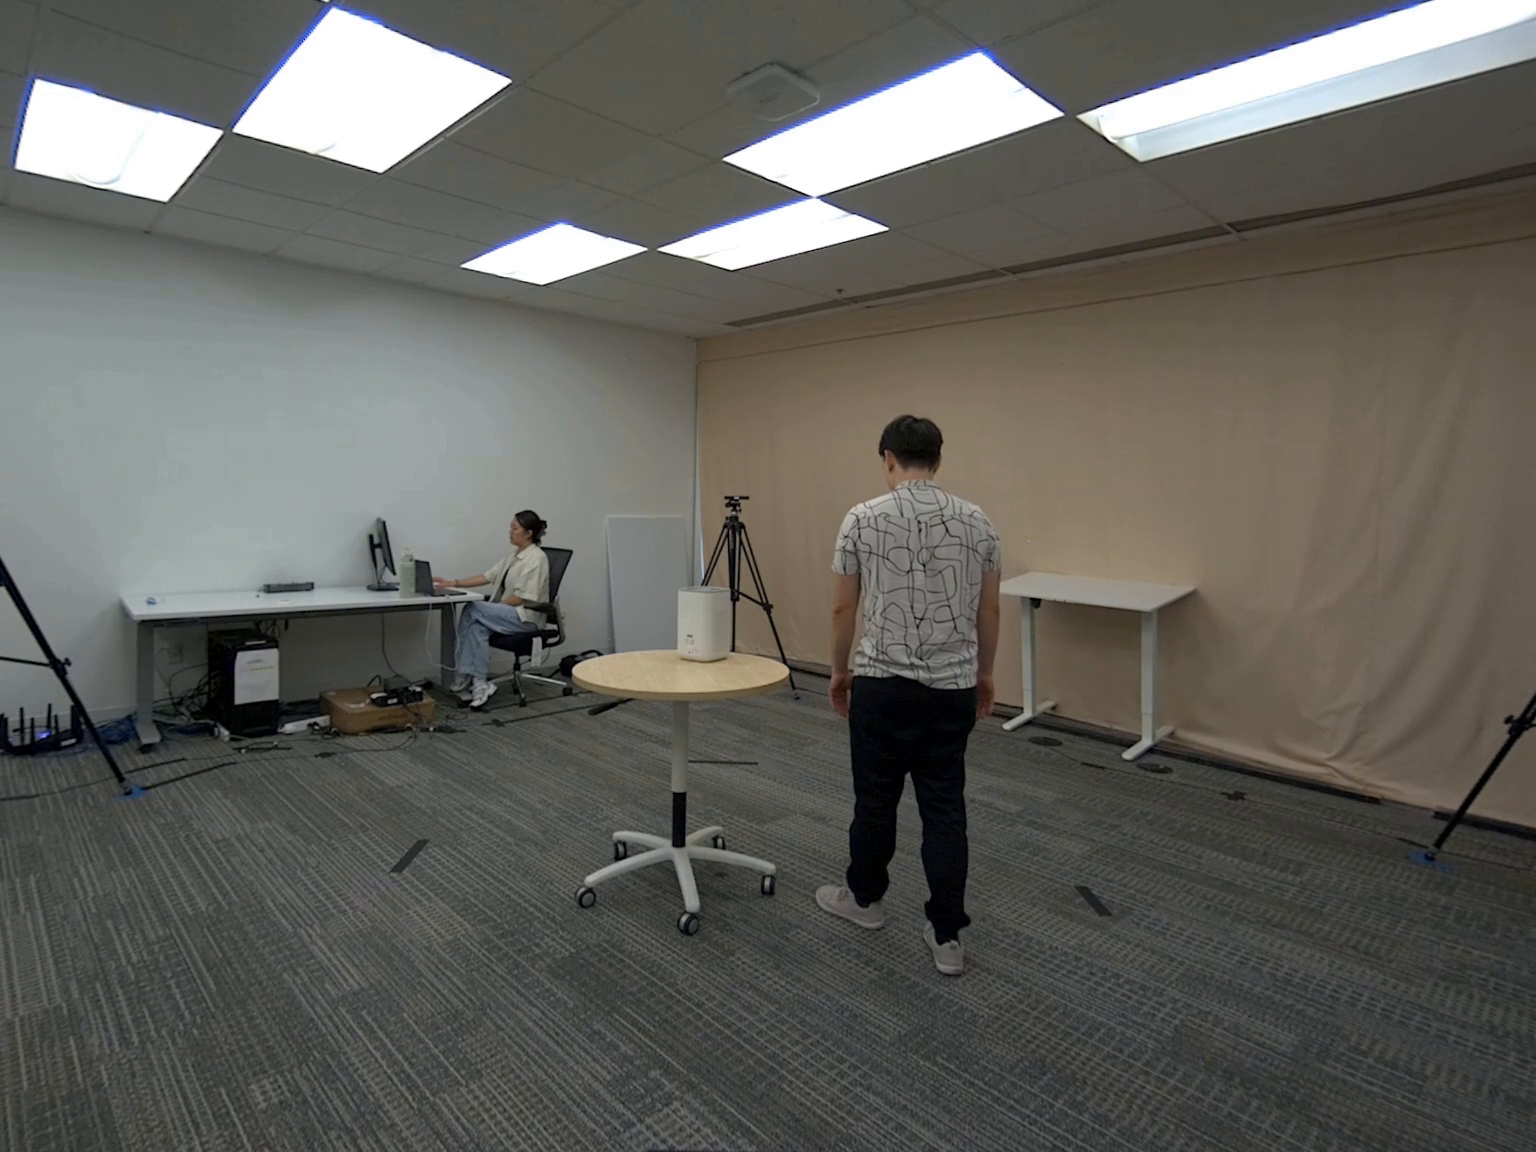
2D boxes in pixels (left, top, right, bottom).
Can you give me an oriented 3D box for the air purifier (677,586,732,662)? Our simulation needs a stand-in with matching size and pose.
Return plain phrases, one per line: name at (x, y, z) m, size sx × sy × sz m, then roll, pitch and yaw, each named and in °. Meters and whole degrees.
air purifier at (-0.247, 0.180, 3.178) m, size 0.175 × 0.265 × 0.168 m, roll 3°, pitch 4°, yaw 32°
